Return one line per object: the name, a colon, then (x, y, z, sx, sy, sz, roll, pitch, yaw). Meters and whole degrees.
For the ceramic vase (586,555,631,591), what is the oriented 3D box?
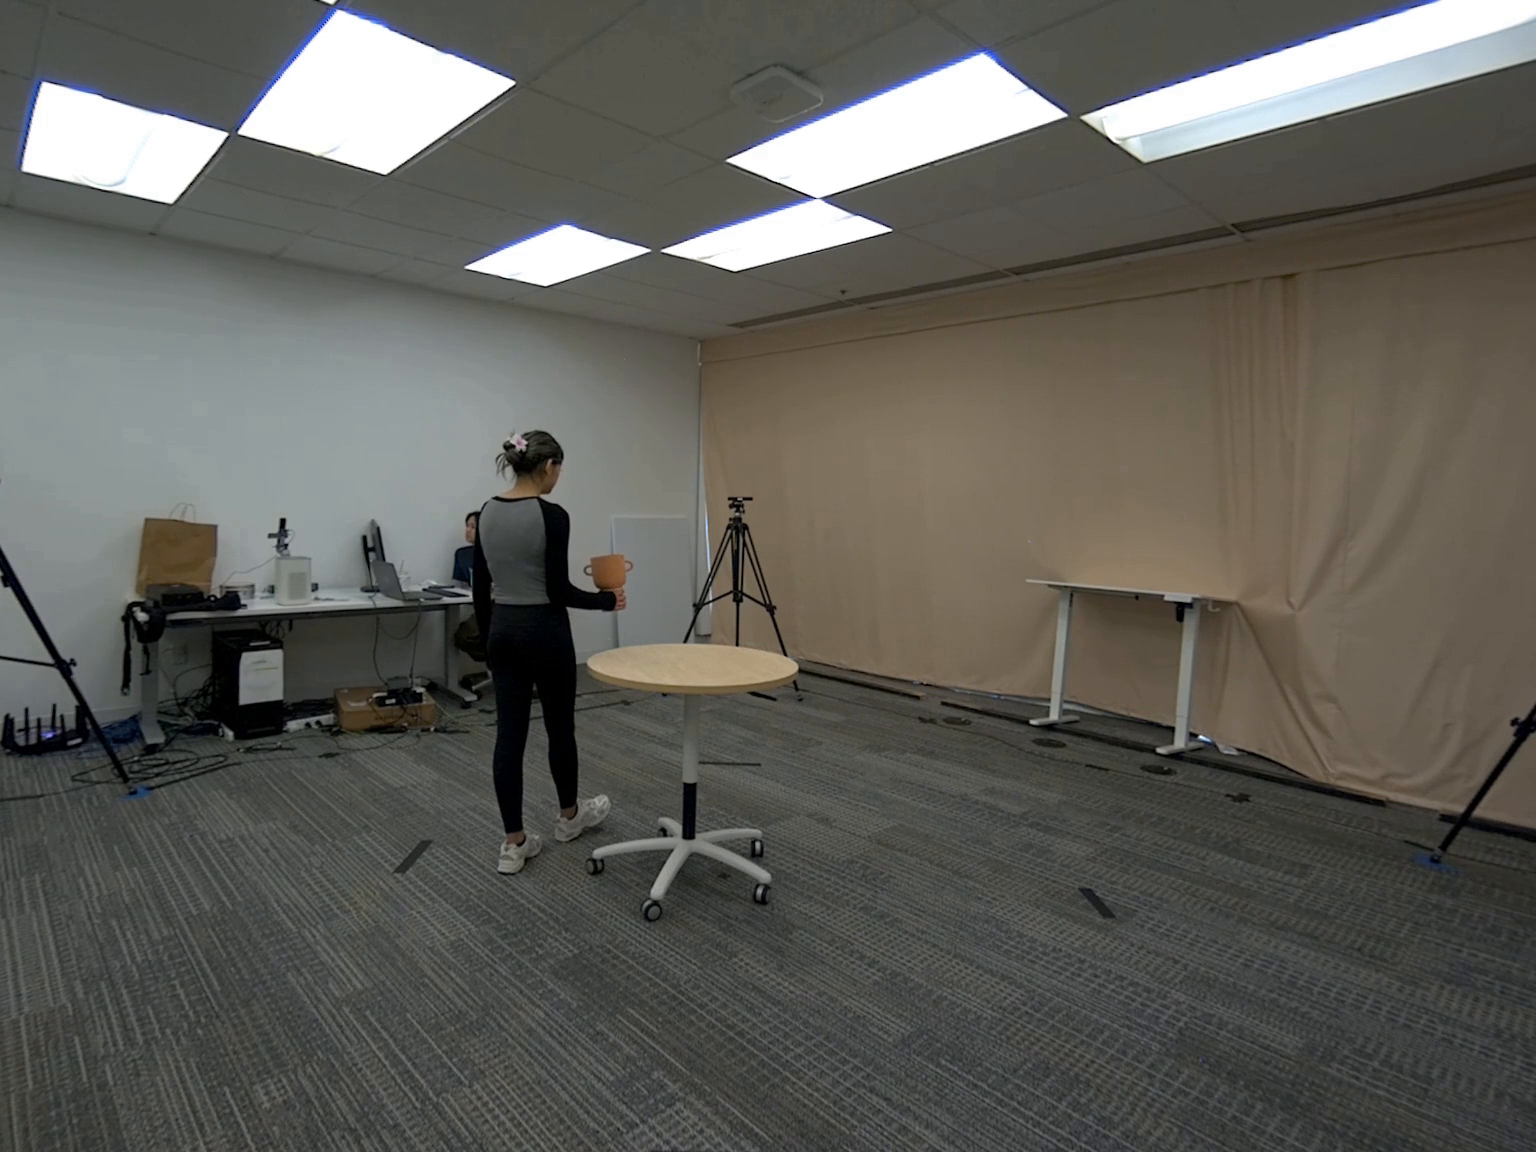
ceramic vase: (-0.645, 0.029, 3.375, 0.162, 0.219, 0.132, -5, 2, 32)
